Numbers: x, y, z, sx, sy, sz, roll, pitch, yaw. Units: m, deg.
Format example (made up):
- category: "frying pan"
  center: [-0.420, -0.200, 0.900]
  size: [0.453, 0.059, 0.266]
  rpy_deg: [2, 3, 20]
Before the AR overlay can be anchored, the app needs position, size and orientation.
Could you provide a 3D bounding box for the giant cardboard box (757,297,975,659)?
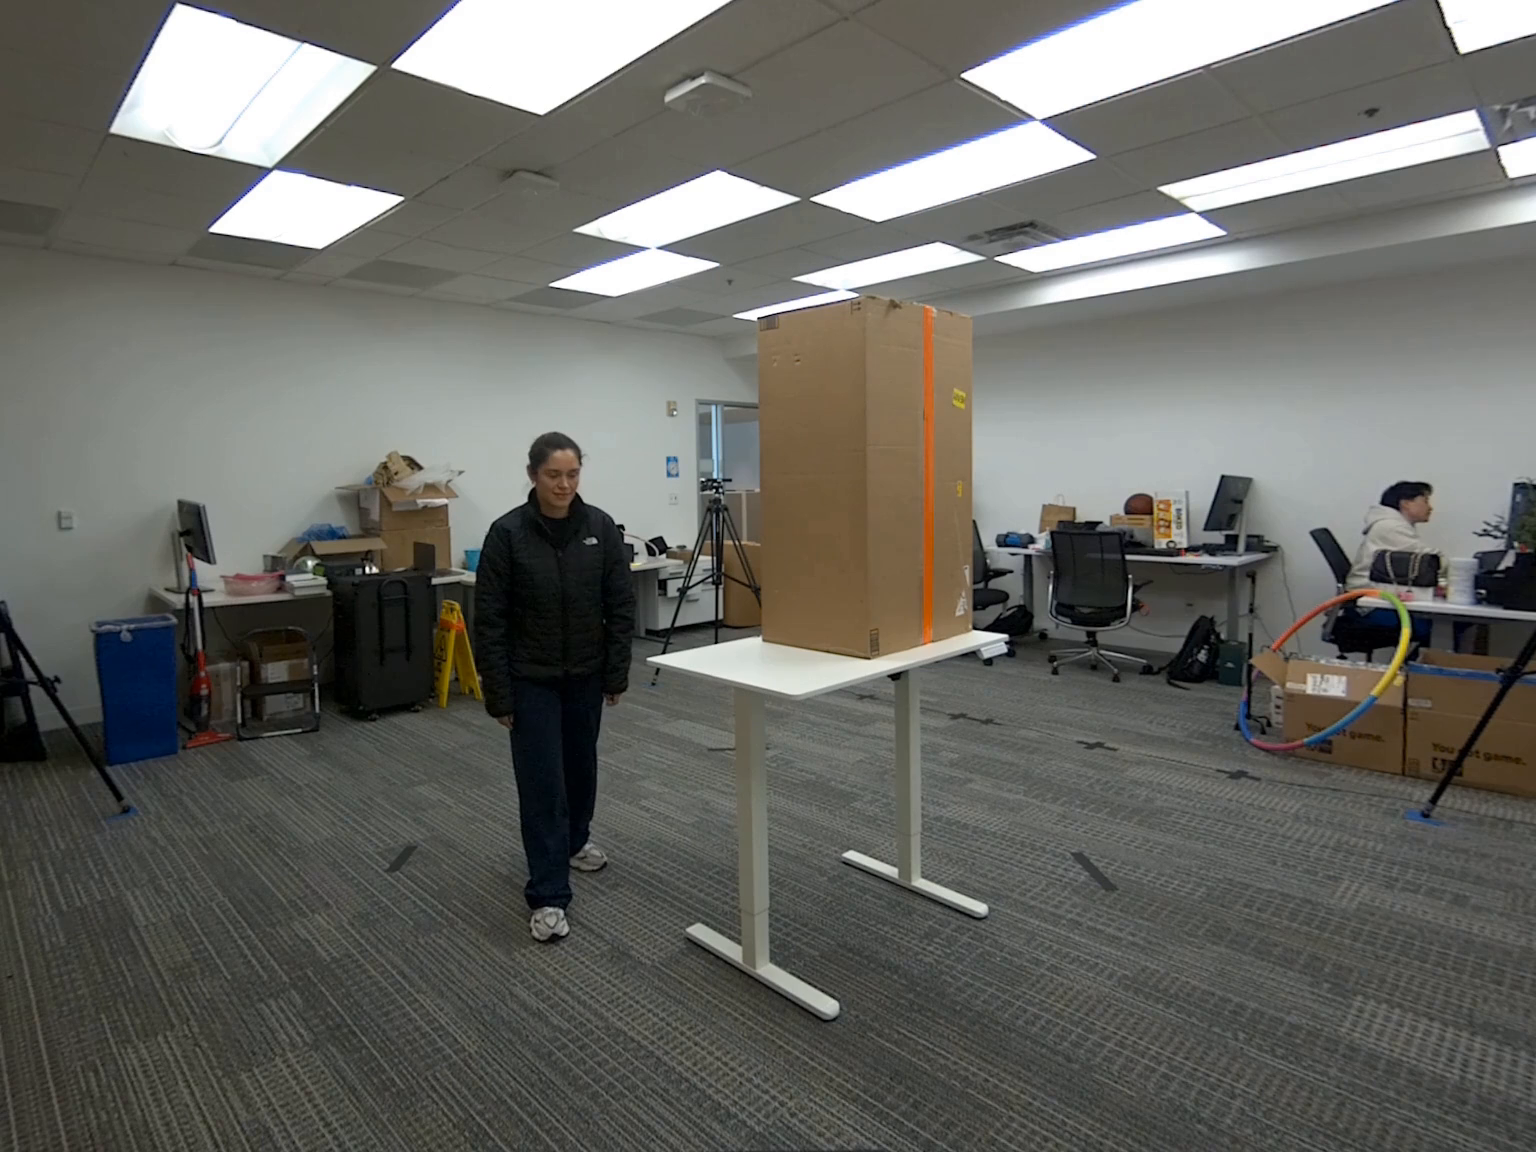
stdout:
- category: "giant cardboard box"
  center: [0.320, -0.312, 2.740]
  size: [0.439, 1.022, 0.562]
  rpy_deg: [3, 6, 44]
